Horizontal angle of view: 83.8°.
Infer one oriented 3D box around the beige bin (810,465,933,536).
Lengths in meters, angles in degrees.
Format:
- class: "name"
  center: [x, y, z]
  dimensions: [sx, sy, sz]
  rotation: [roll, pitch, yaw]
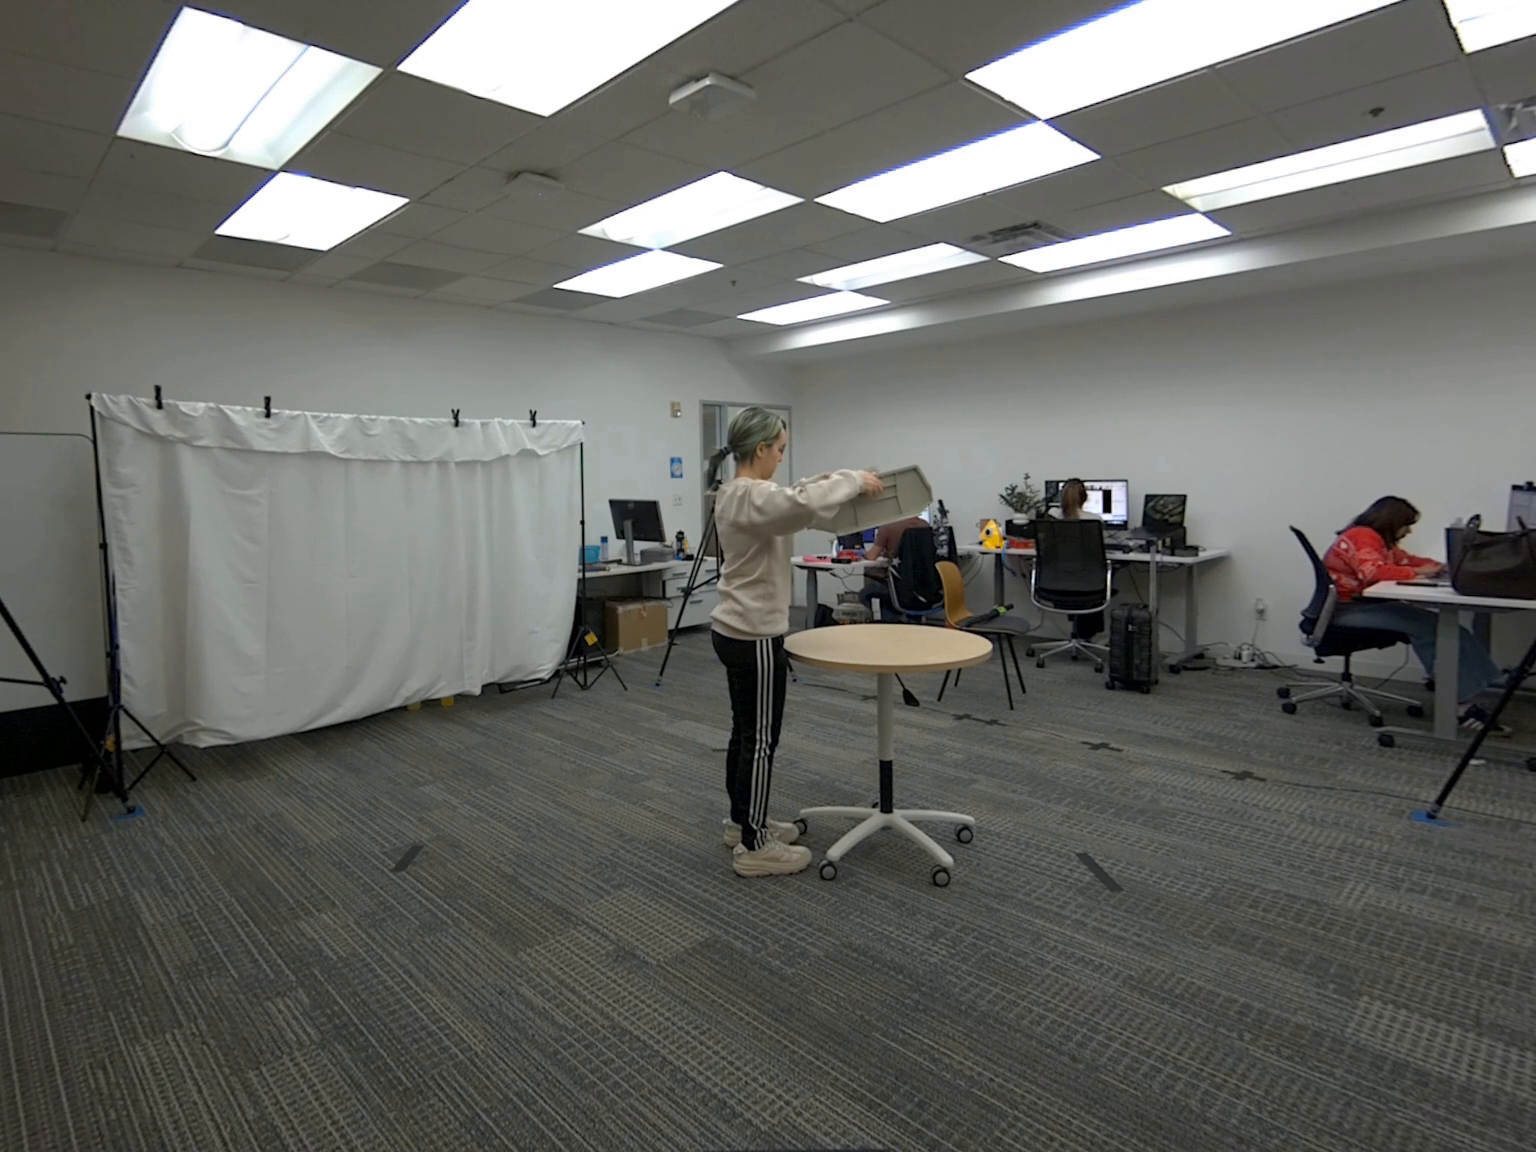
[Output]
- class: "beige bin"
  center: [0.341, -0.279, 3.146]
  dimensions: [0.374, 0.187, 0.429]
  rotation: [-15, 9, -11]
